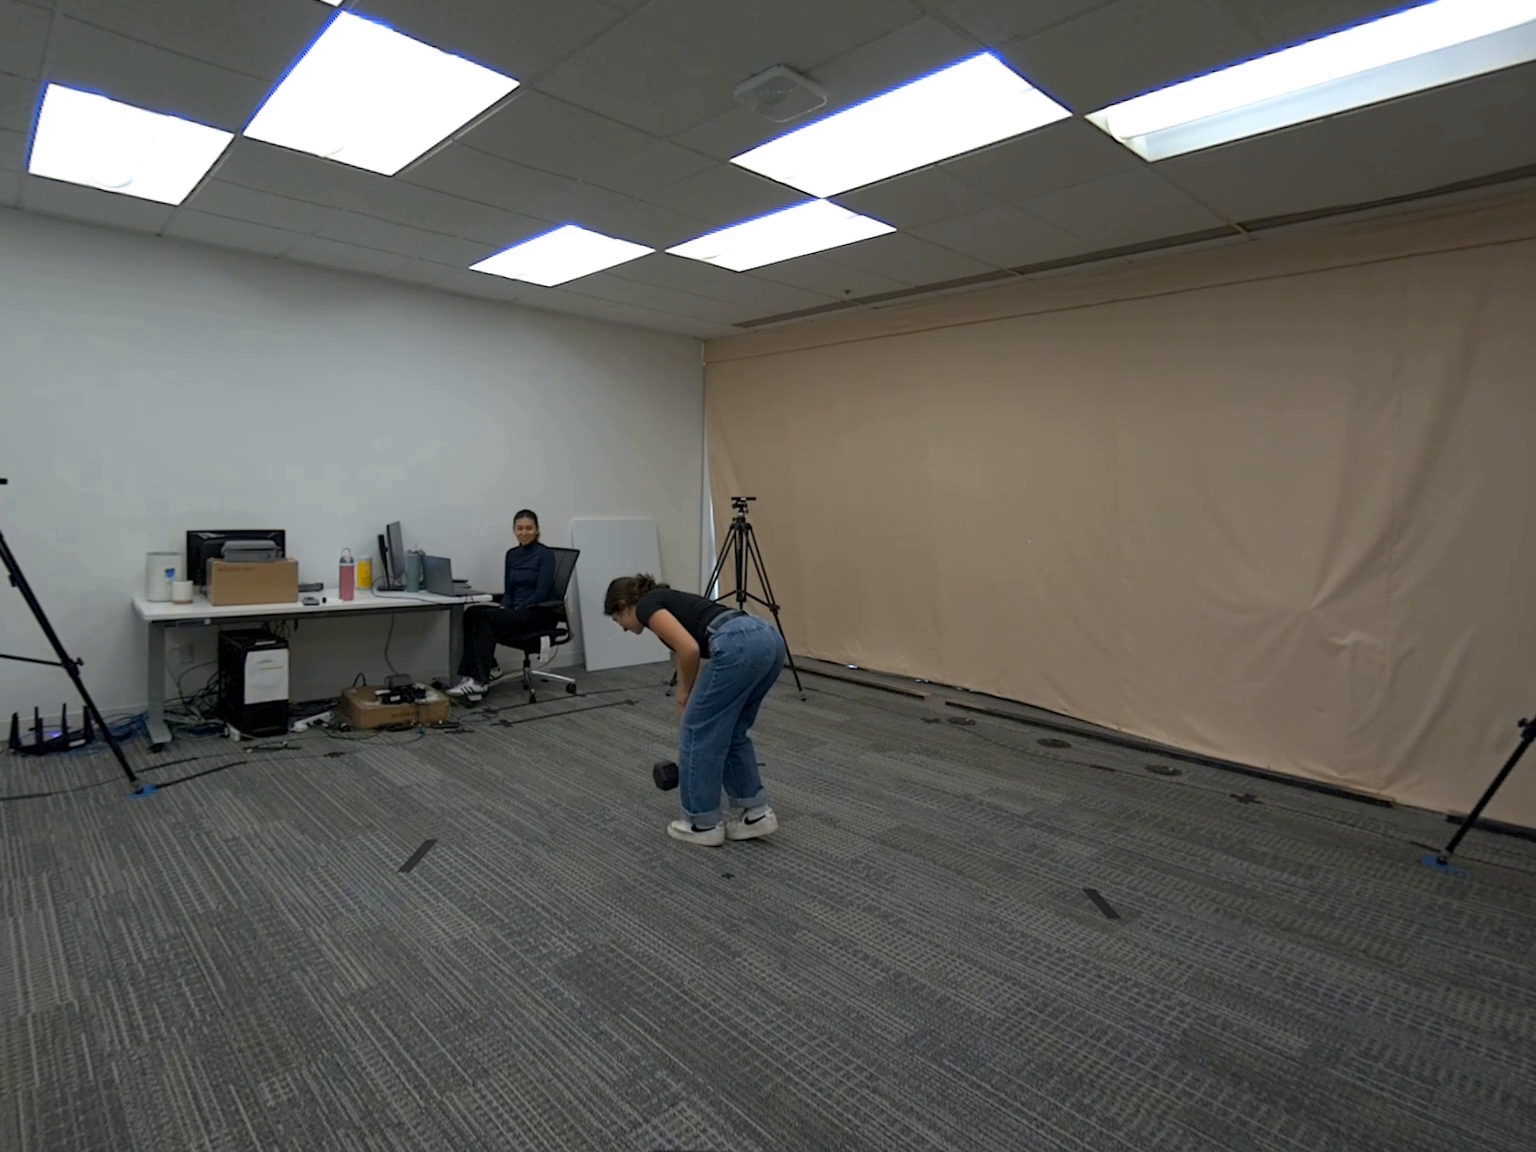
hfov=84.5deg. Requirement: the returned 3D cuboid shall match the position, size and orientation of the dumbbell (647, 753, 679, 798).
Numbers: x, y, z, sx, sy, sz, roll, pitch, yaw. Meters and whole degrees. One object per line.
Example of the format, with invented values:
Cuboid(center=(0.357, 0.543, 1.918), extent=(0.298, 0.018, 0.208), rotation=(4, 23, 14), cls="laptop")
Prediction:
Cuboid(center=(-0.341, 0.815, 3.568), extent=(0.288, 0.126, 0.108), rotation=(-10, -28, -34), cls="dumbbell")
